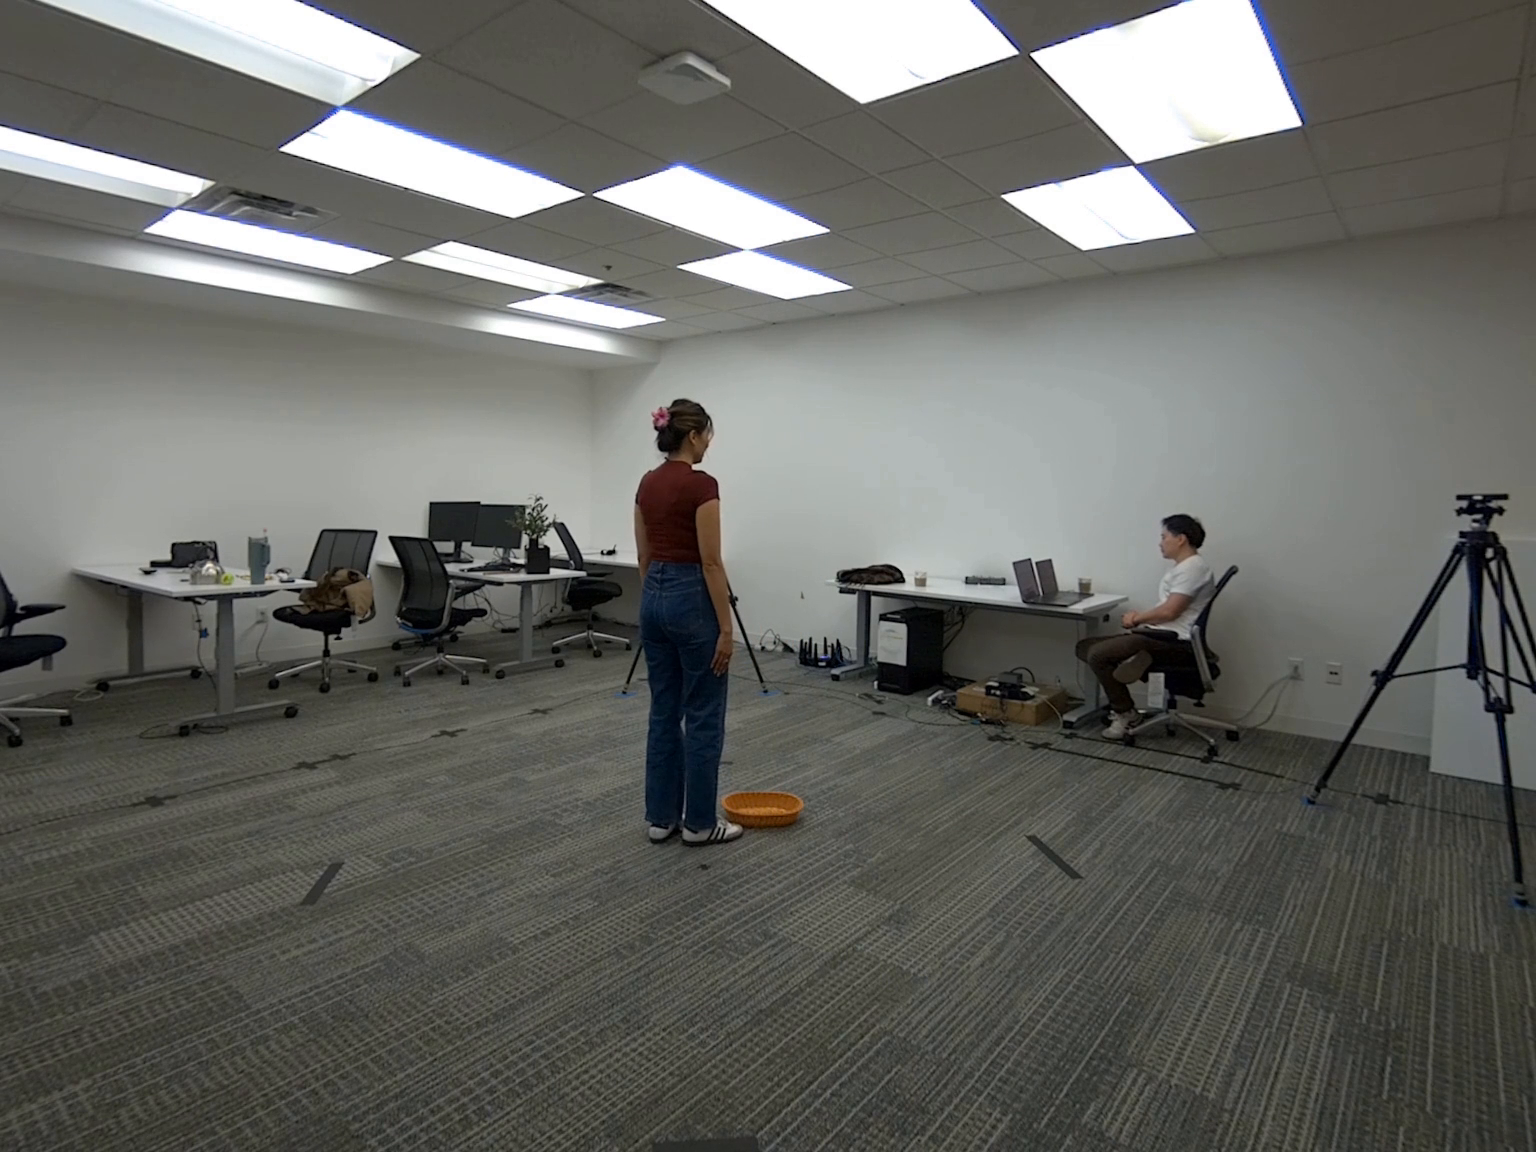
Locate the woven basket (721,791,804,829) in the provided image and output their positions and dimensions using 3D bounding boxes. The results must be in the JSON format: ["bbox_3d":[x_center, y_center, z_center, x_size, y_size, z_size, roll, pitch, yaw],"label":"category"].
[{"bbox_3d":[-0.033,0.981,3.580,0.349,0.073,0.255,1,7,-5],"label":"woven basket"}]
